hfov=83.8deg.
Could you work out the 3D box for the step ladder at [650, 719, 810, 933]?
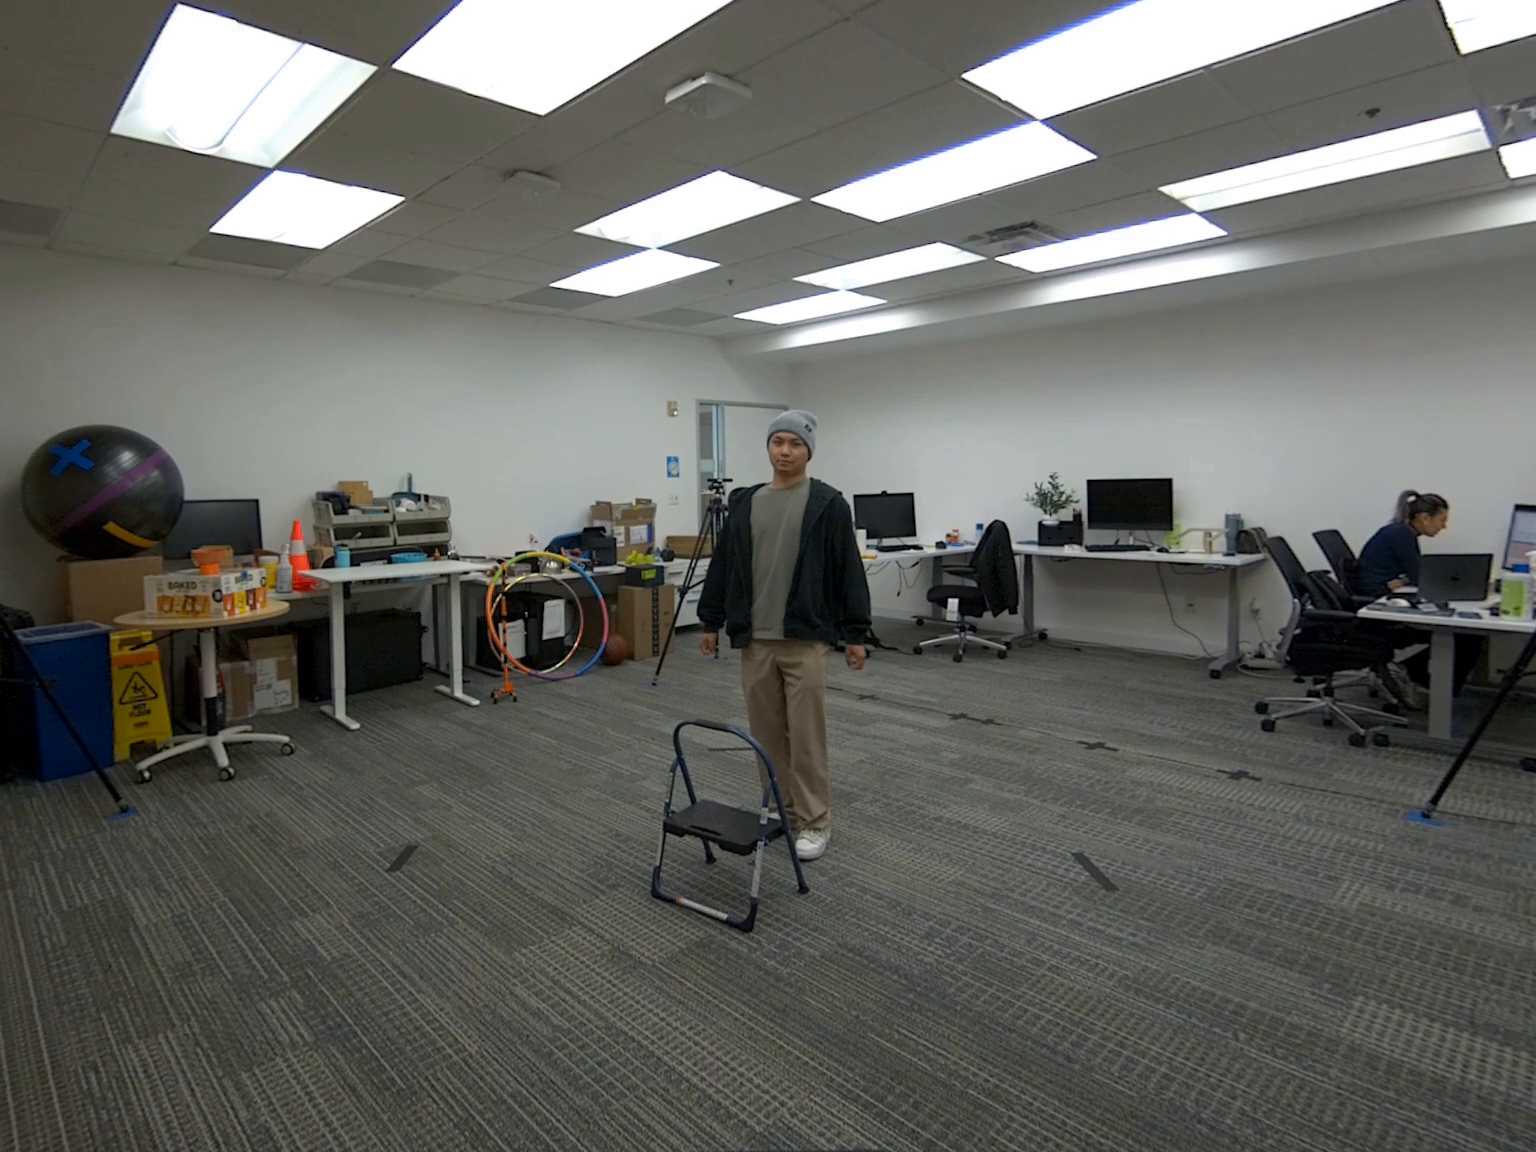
[{"bbox_3d":[-0.136,0.772,2.865,0.443,0.604,0.341,2,5,35],"label":"step ladder"}]
